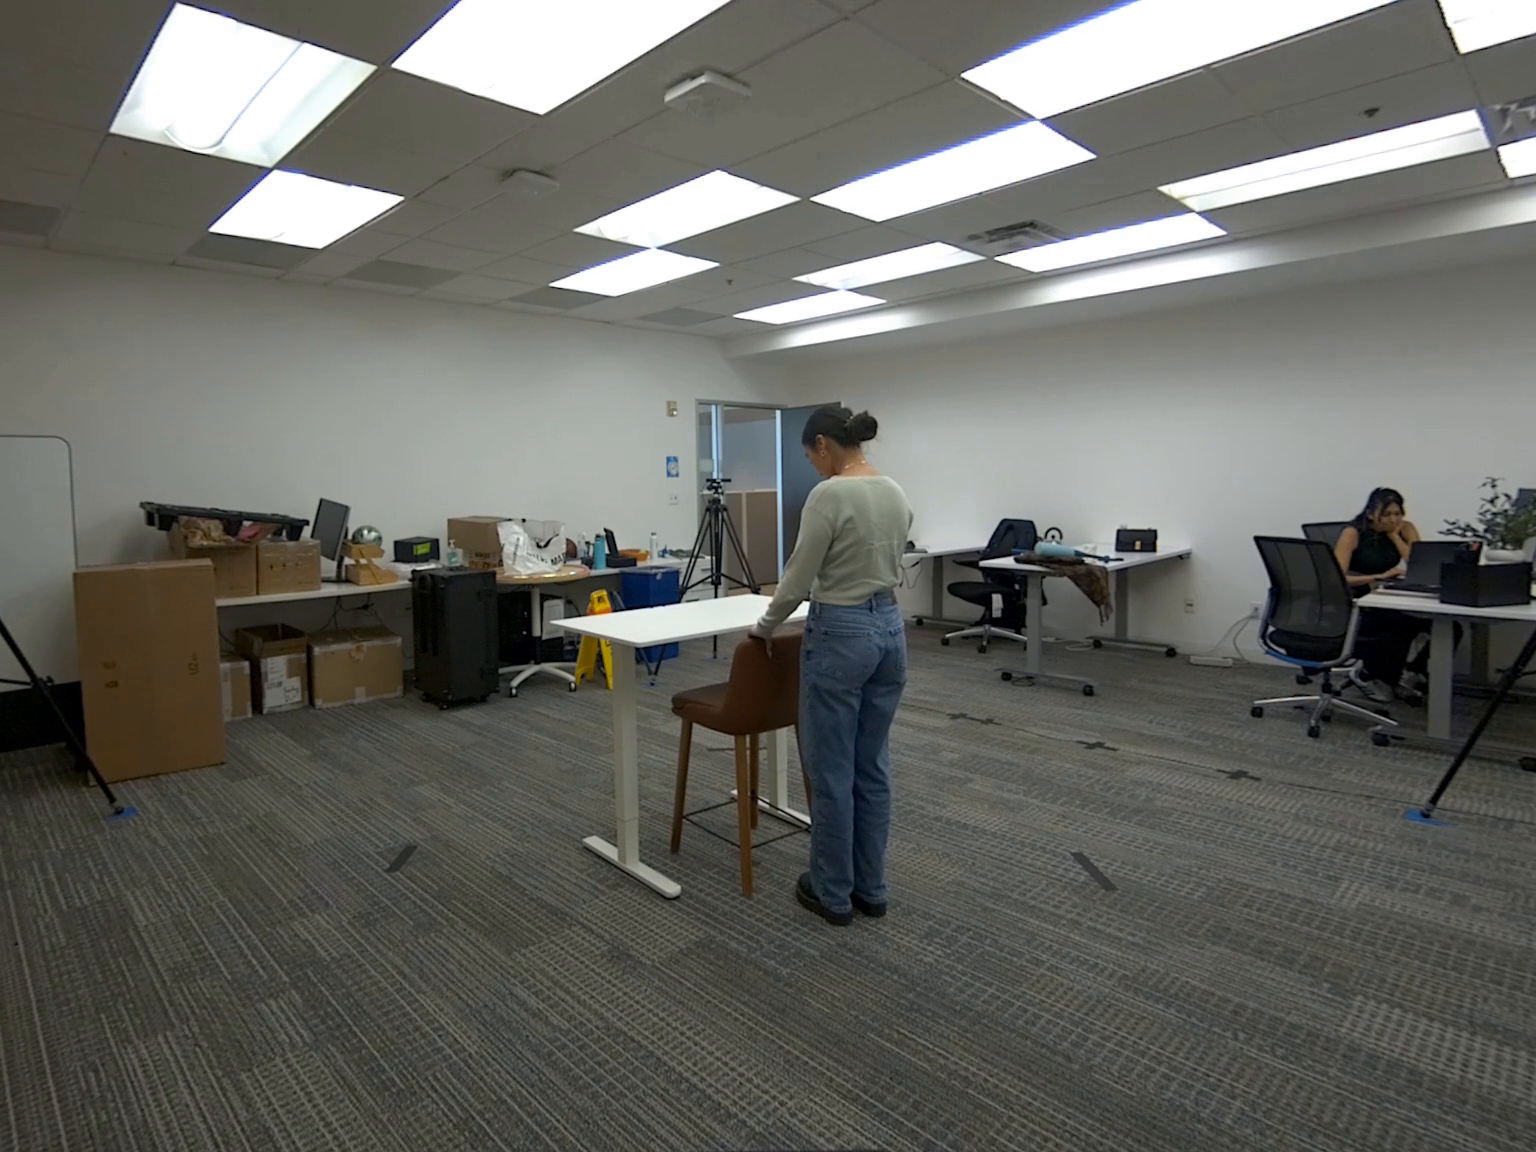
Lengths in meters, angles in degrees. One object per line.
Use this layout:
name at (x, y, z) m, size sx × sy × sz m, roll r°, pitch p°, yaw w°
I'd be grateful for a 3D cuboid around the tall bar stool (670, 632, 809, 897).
tall bar stool at (-0.067, 0.608, 3.103) m, size 0.444 × 0.885 × 0.482 m, roll -3°, pitch 7°, yaw -38°
